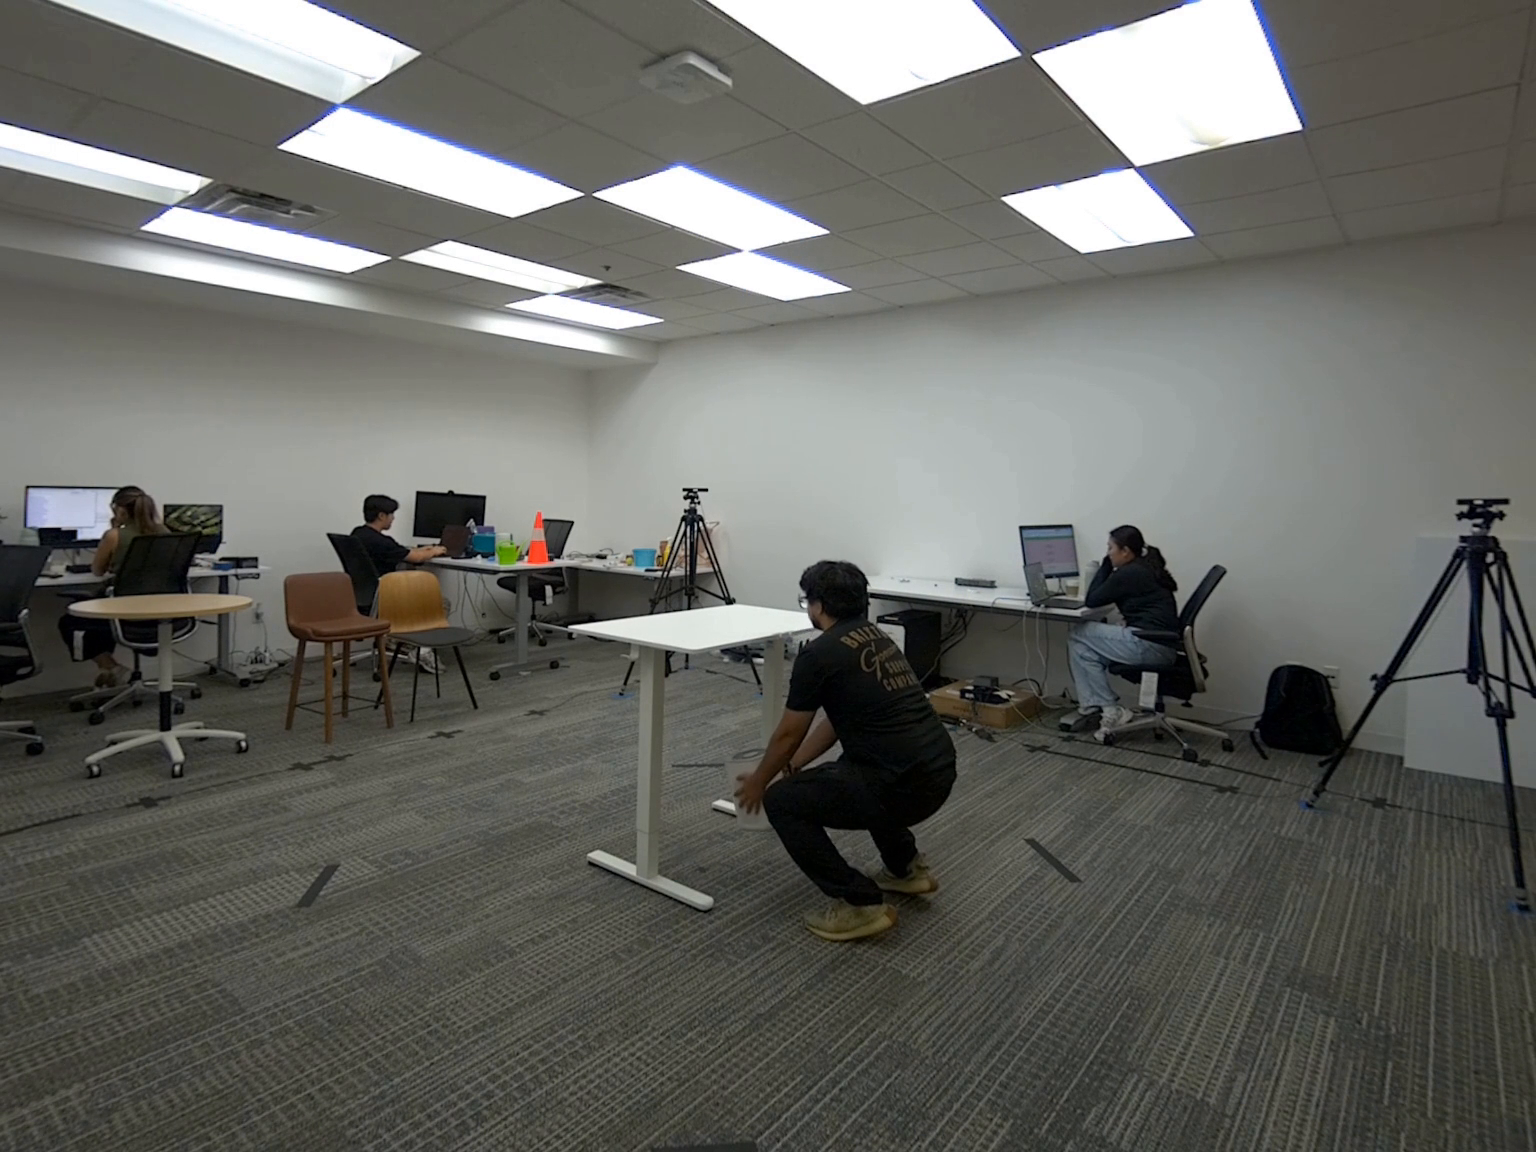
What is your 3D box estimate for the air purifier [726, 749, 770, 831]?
[{"bbox_3d":[-0.038,0.778,3.118,0.175,0.266,0.167,-14,-3,35],"label":"air purifier"}]
